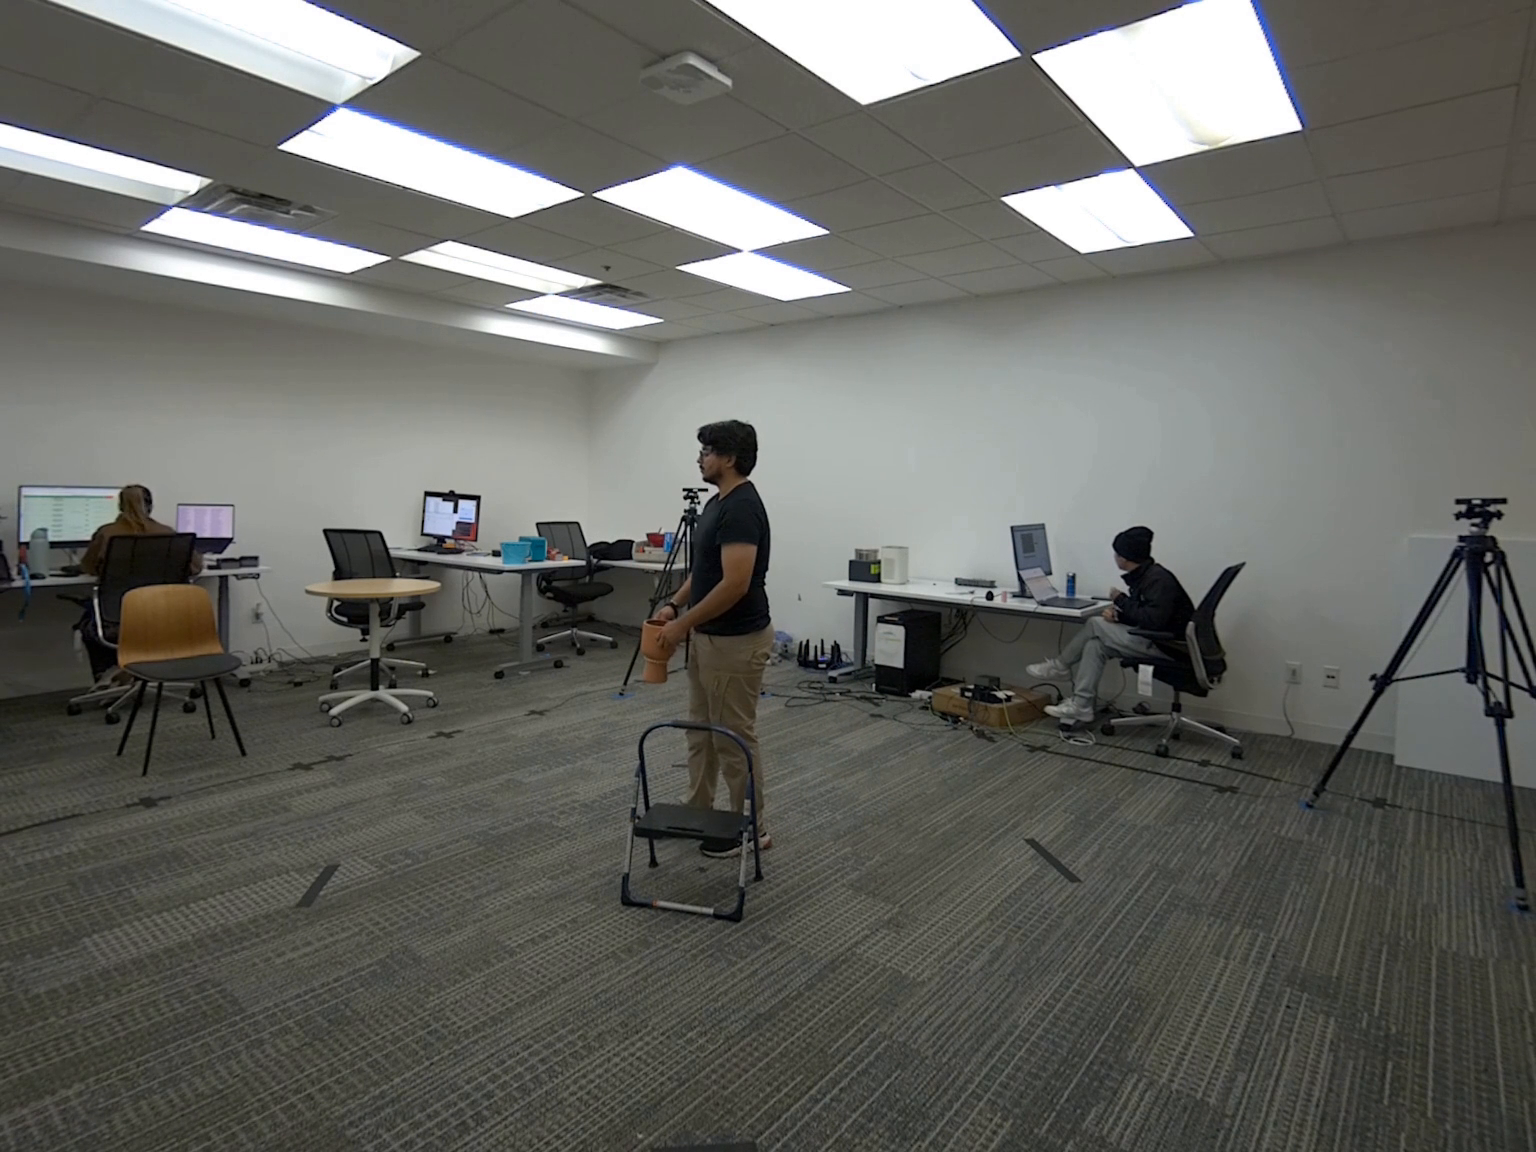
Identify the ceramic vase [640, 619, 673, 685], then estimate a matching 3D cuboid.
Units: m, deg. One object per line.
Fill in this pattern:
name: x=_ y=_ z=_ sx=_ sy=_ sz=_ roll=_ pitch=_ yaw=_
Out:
ceramic vase: x=-0.426 y=0.286 z=3.240 sx=0.138 sy=0.219 sz=0.155 roll=9 pitch=6 yaw=26
